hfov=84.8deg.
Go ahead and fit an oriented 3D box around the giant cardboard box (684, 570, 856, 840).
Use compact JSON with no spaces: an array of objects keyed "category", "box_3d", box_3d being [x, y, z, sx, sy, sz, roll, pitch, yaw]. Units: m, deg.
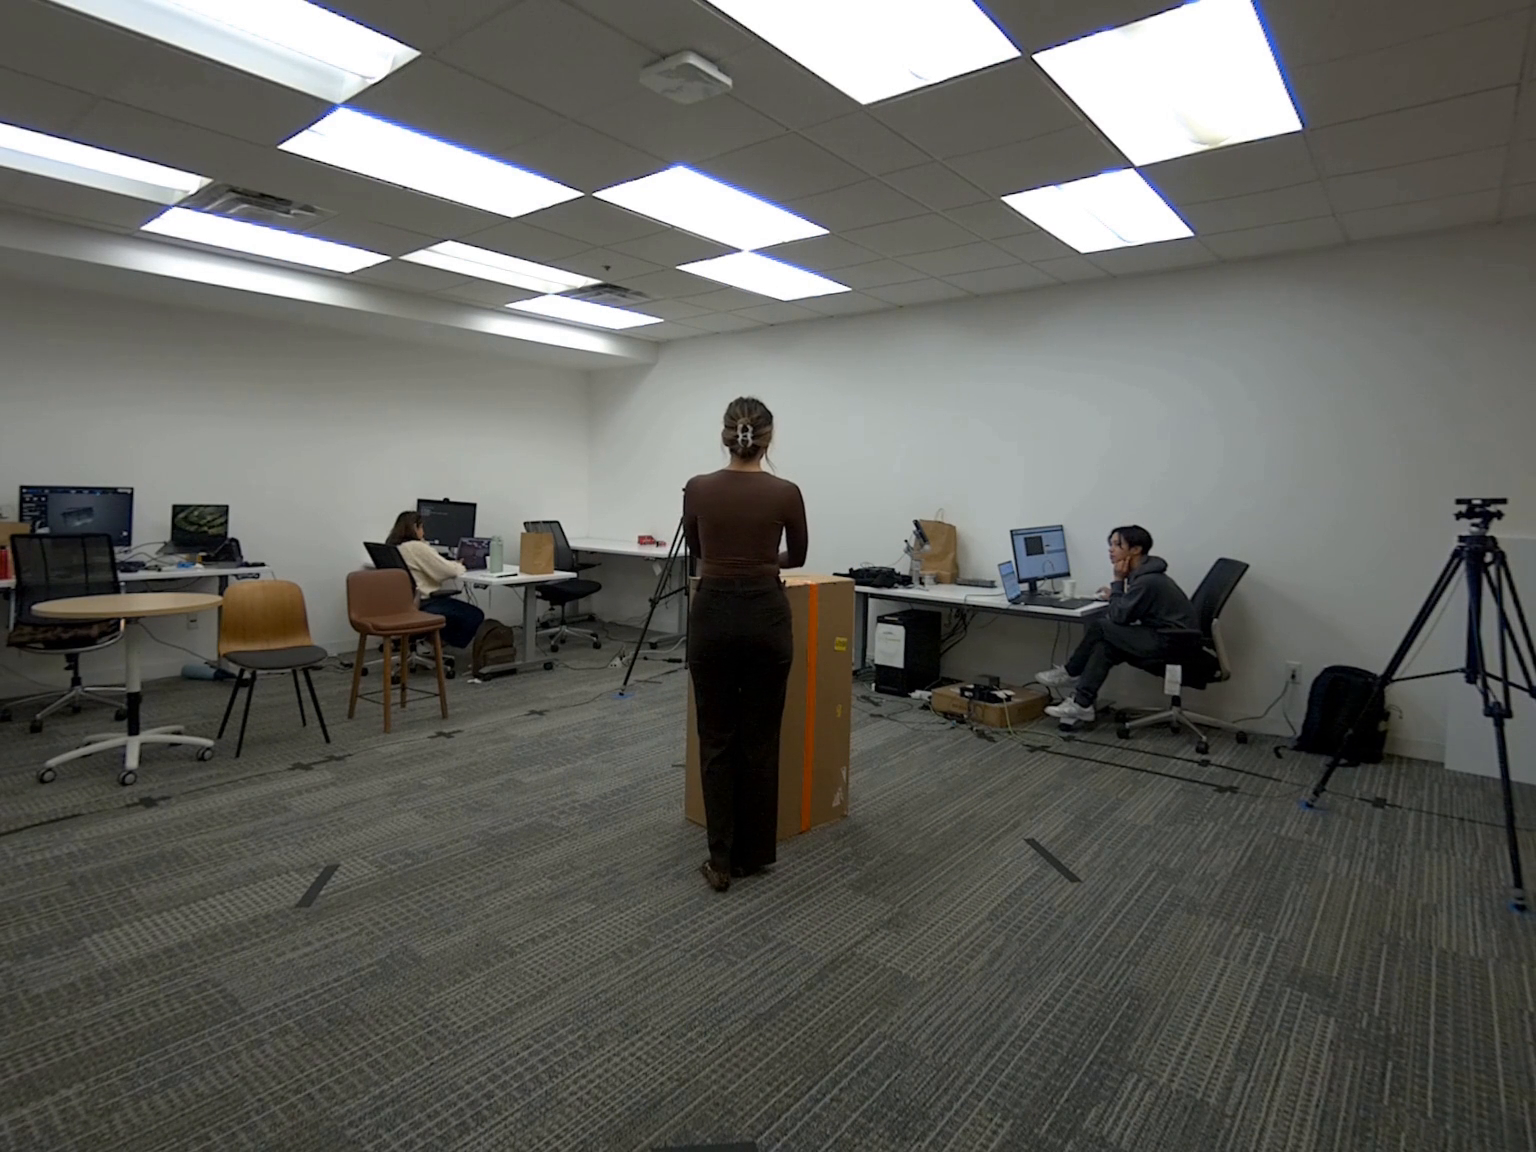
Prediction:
[{"category":"giant cardboard box","box_3d":[0.003,0.514,3.606,0.566,1.024,0.462,-2,5,-42]}]
